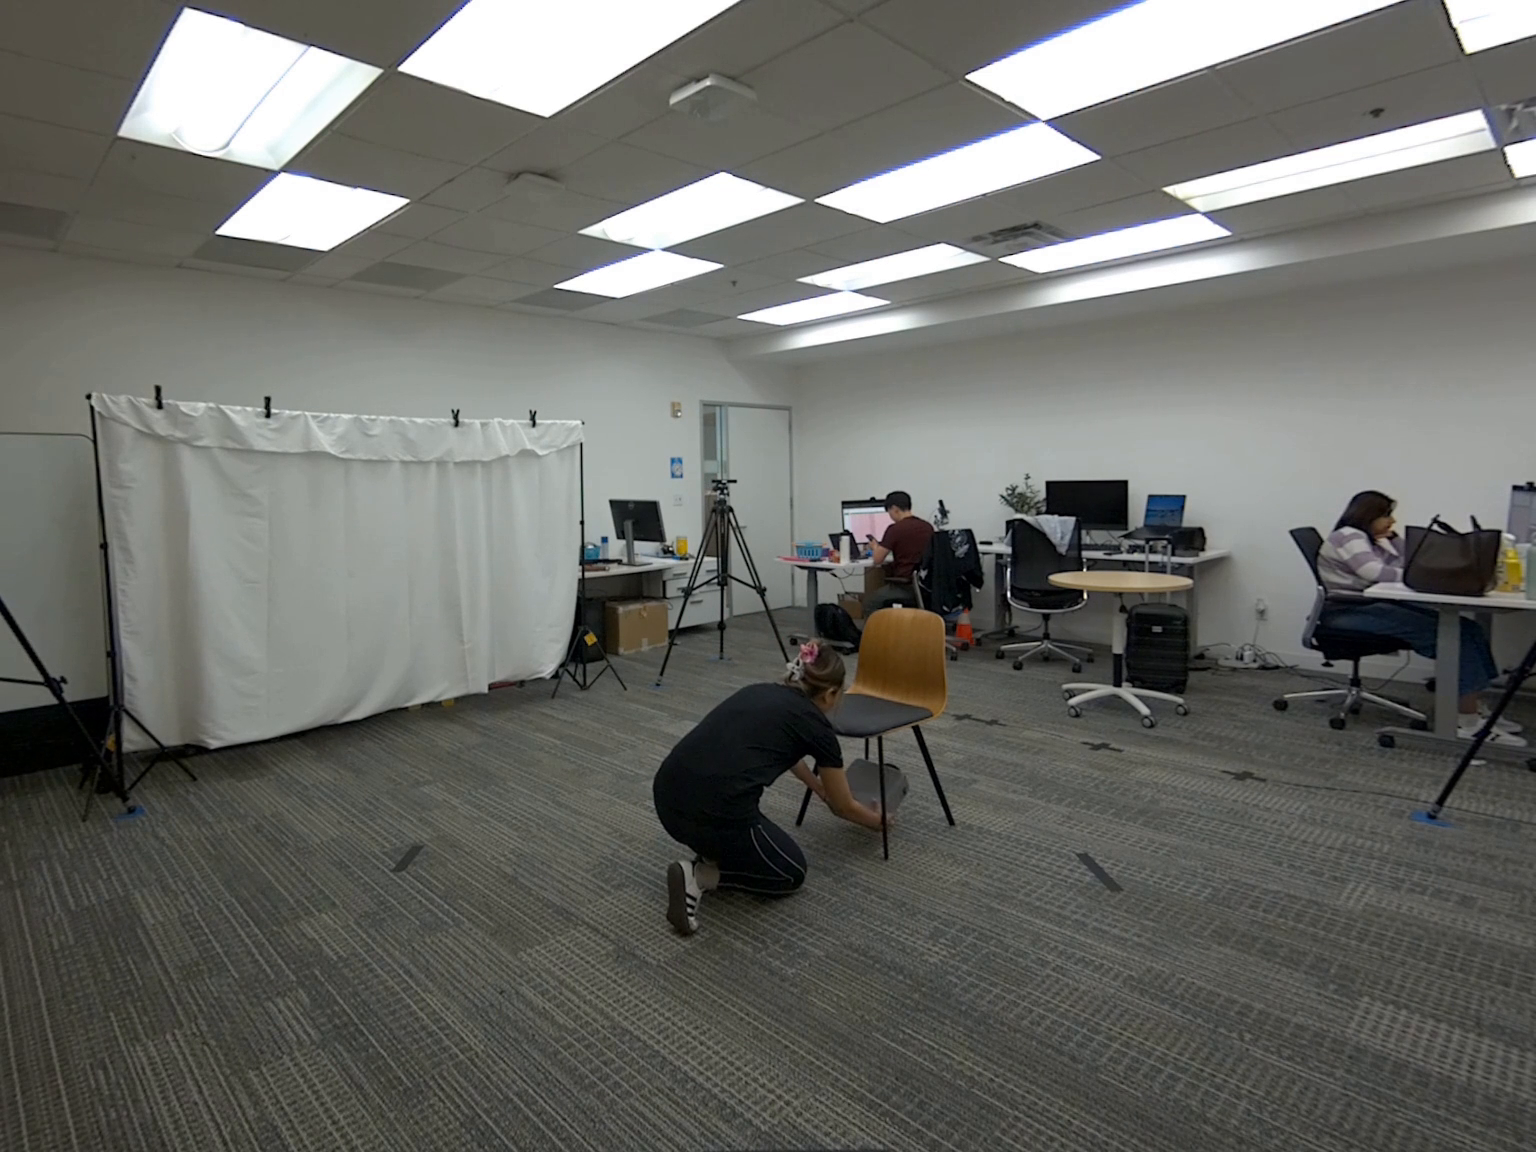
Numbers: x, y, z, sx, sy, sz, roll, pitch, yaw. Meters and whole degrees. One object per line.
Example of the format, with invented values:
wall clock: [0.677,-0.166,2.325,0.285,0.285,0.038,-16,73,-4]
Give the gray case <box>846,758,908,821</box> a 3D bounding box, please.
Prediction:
gray case: [0.409,0.866,3.401,0.265,0.101,0.260,8,42,45]
